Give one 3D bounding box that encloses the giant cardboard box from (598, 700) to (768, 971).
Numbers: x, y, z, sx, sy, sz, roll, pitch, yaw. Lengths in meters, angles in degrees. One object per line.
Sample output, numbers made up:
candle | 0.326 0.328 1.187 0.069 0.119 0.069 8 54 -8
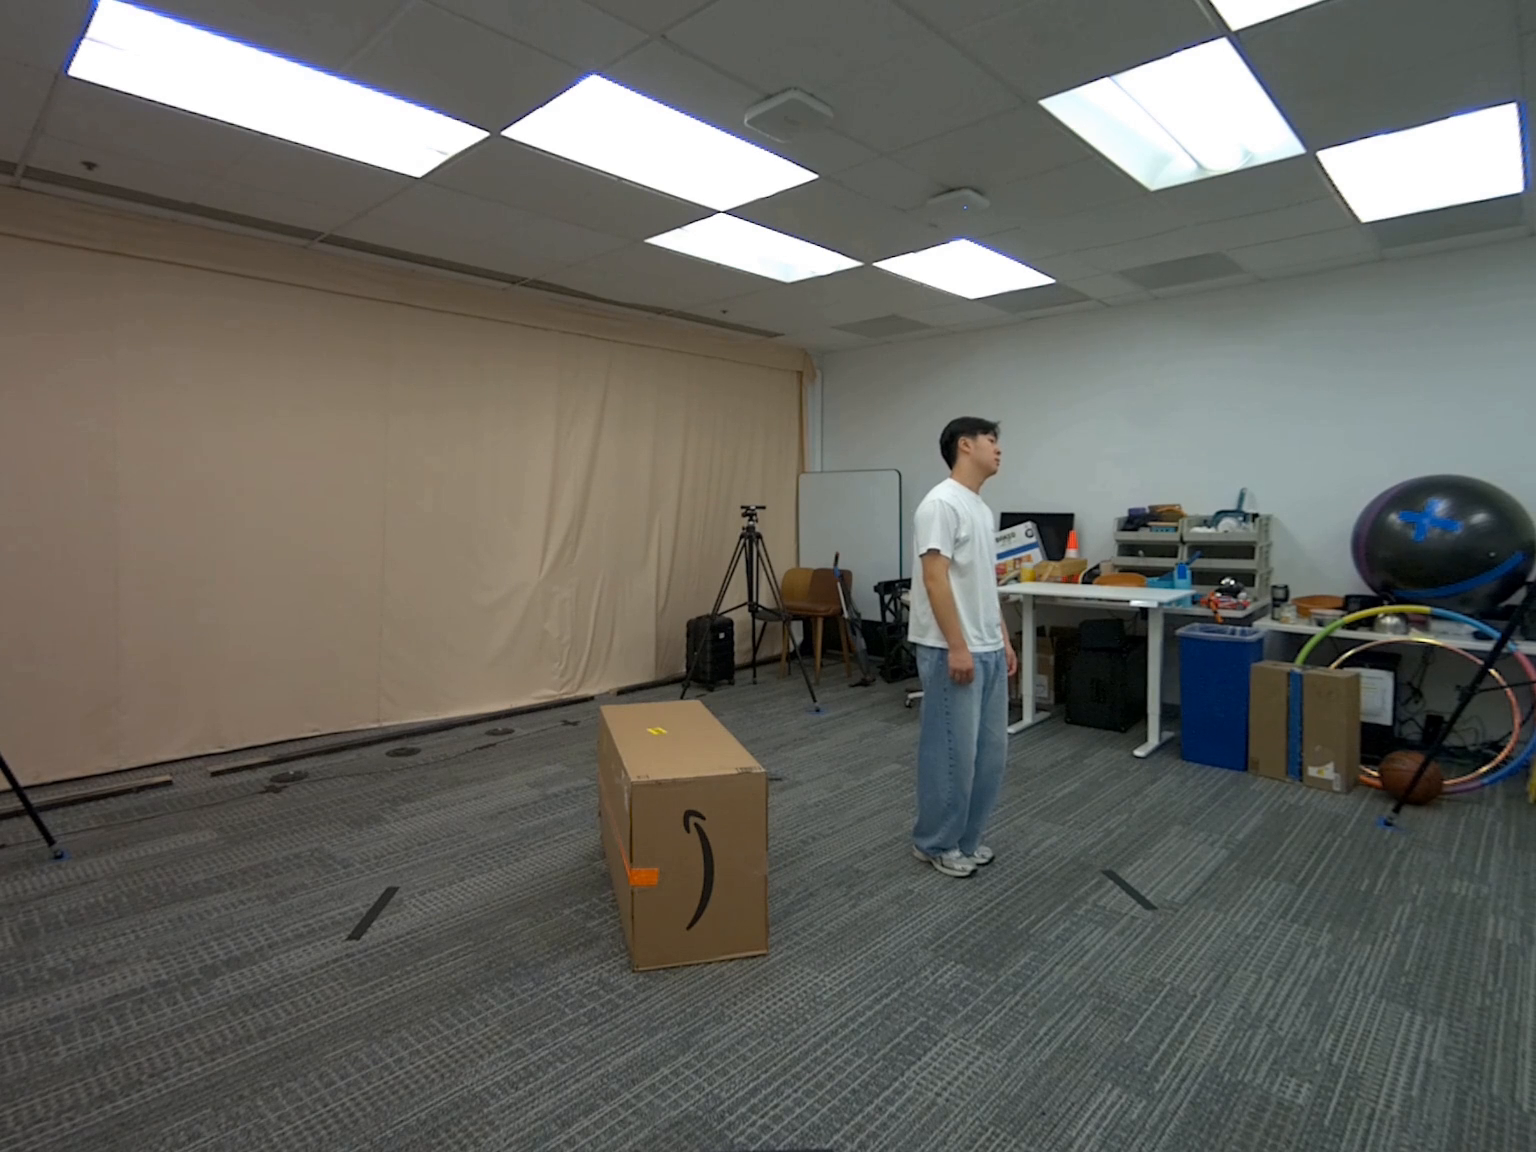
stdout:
giant cardboard box | -0.348 0.852 3.038 0.419 0.576 1.044 -1 4 -16
